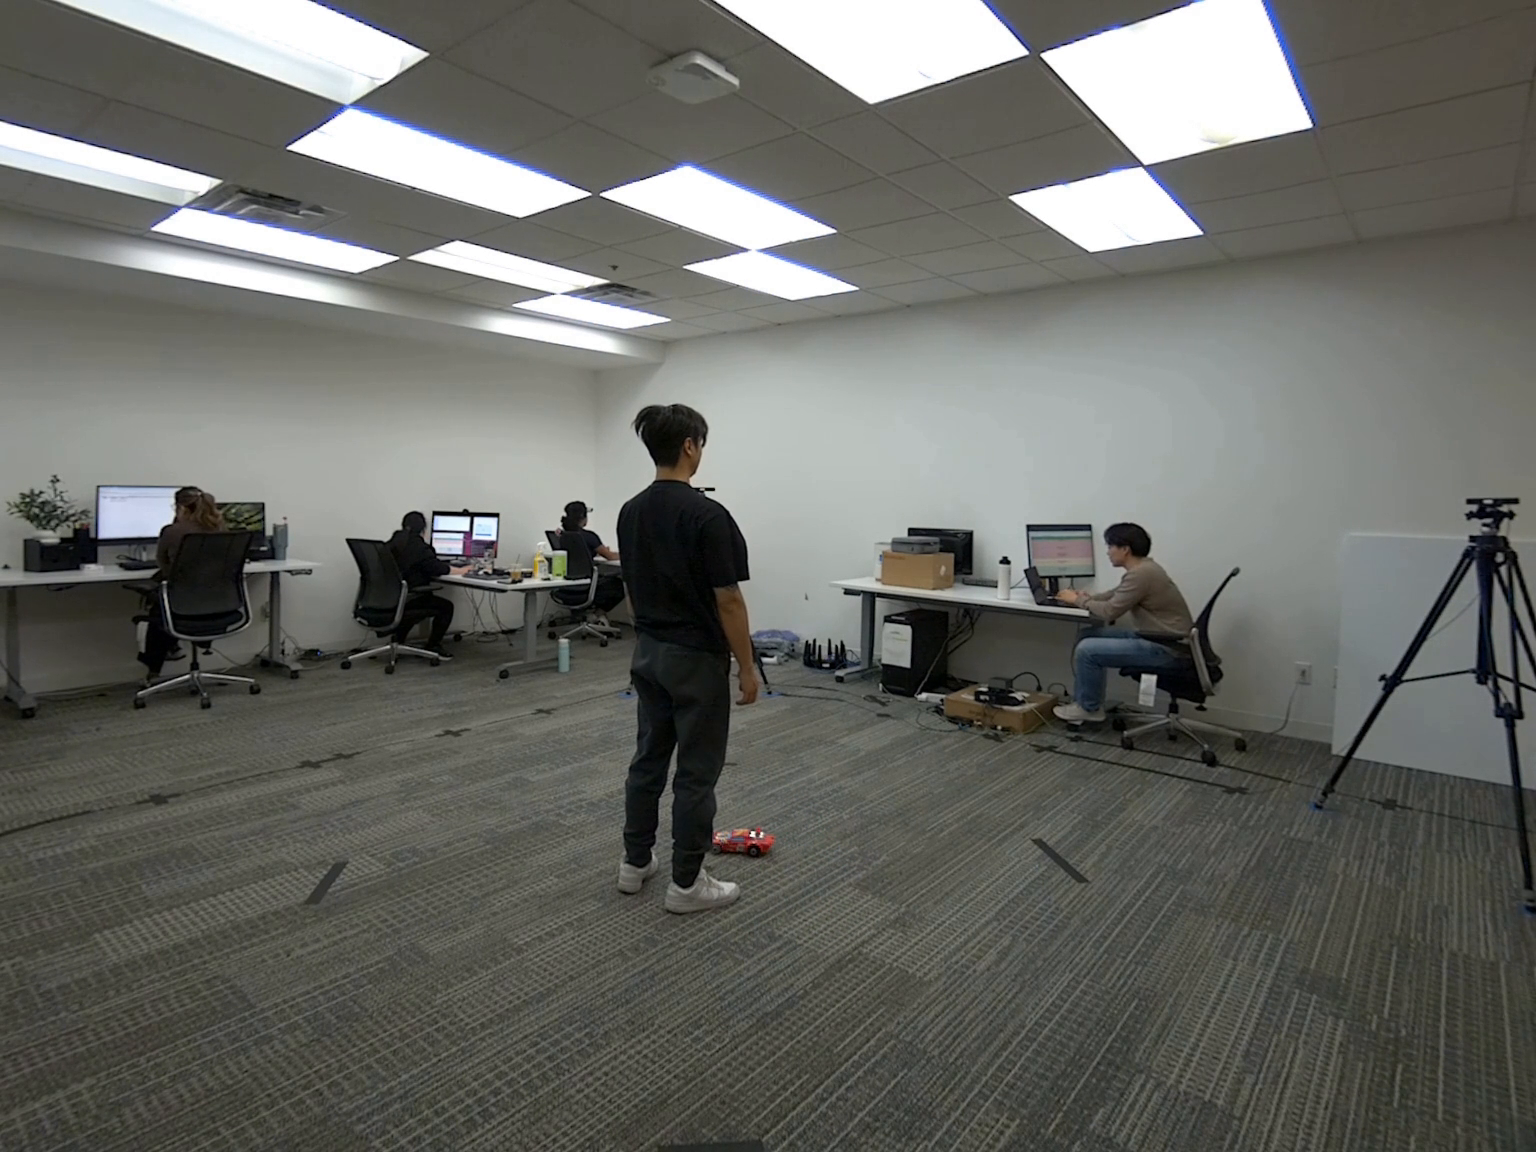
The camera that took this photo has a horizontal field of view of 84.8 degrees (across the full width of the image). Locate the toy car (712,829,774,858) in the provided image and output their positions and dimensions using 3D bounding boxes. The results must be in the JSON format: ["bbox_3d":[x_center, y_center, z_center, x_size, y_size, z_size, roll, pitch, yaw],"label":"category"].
[{"bbox_3d":[-0.110,1.020,3.270,0.257,0.083,0.129,-8,4,9],"label":"toy car"}]
